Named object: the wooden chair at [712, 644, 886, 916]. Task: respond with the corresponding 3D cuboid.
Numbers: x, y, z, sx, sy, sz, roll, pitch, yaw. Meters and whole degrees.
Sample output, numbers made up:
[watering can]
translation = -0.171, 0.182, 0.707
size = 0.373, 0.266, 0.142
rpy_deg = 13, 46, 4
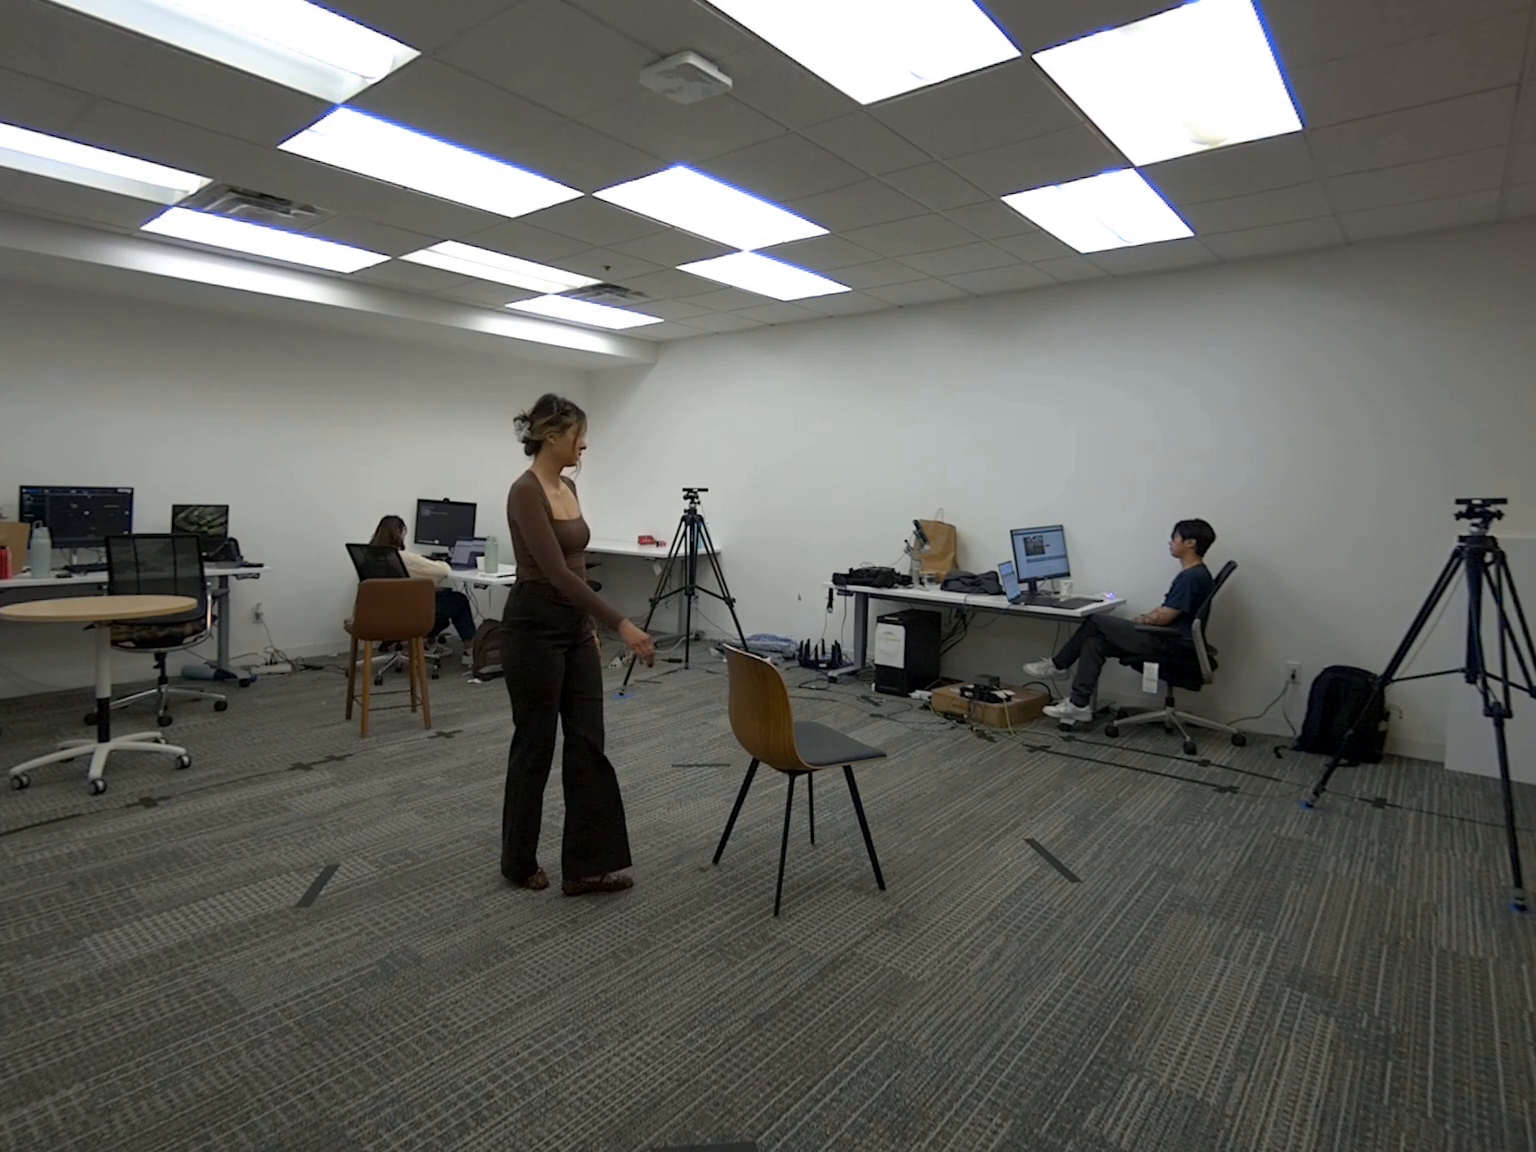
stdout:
[wooden chair]
translation = 0.114, 0.659, 3.041
size = 0.510, 0.873, 0.492
rpy_deg = -5, 6, -30
